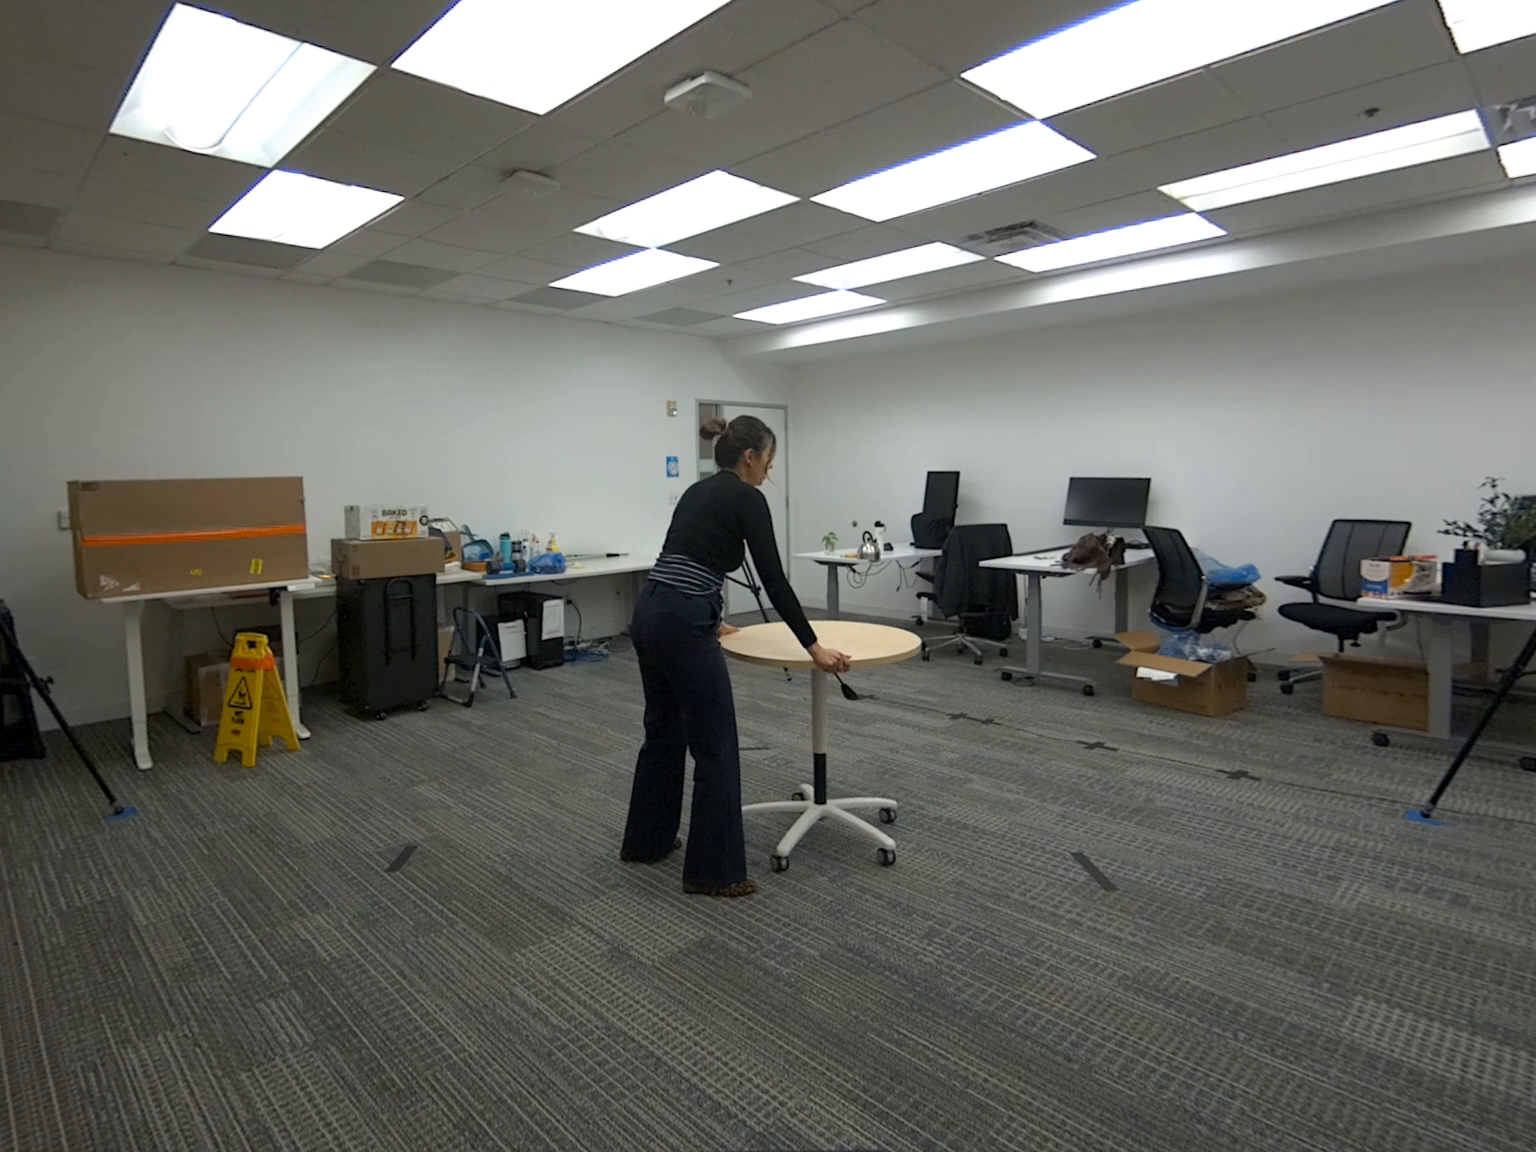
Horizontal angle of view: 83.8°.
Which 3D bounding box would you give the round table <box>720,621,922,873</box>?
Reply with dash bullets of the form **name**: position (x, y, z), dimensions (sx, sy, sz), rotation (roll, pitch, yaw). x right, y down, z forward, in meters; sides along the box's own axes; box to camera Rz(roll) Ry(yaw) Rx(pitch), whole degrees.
- **round table**: position (0.192, 0.630, 3.288), dimensions (0.763, 0.790, 0.768), rotation (-1, 5, -2)
